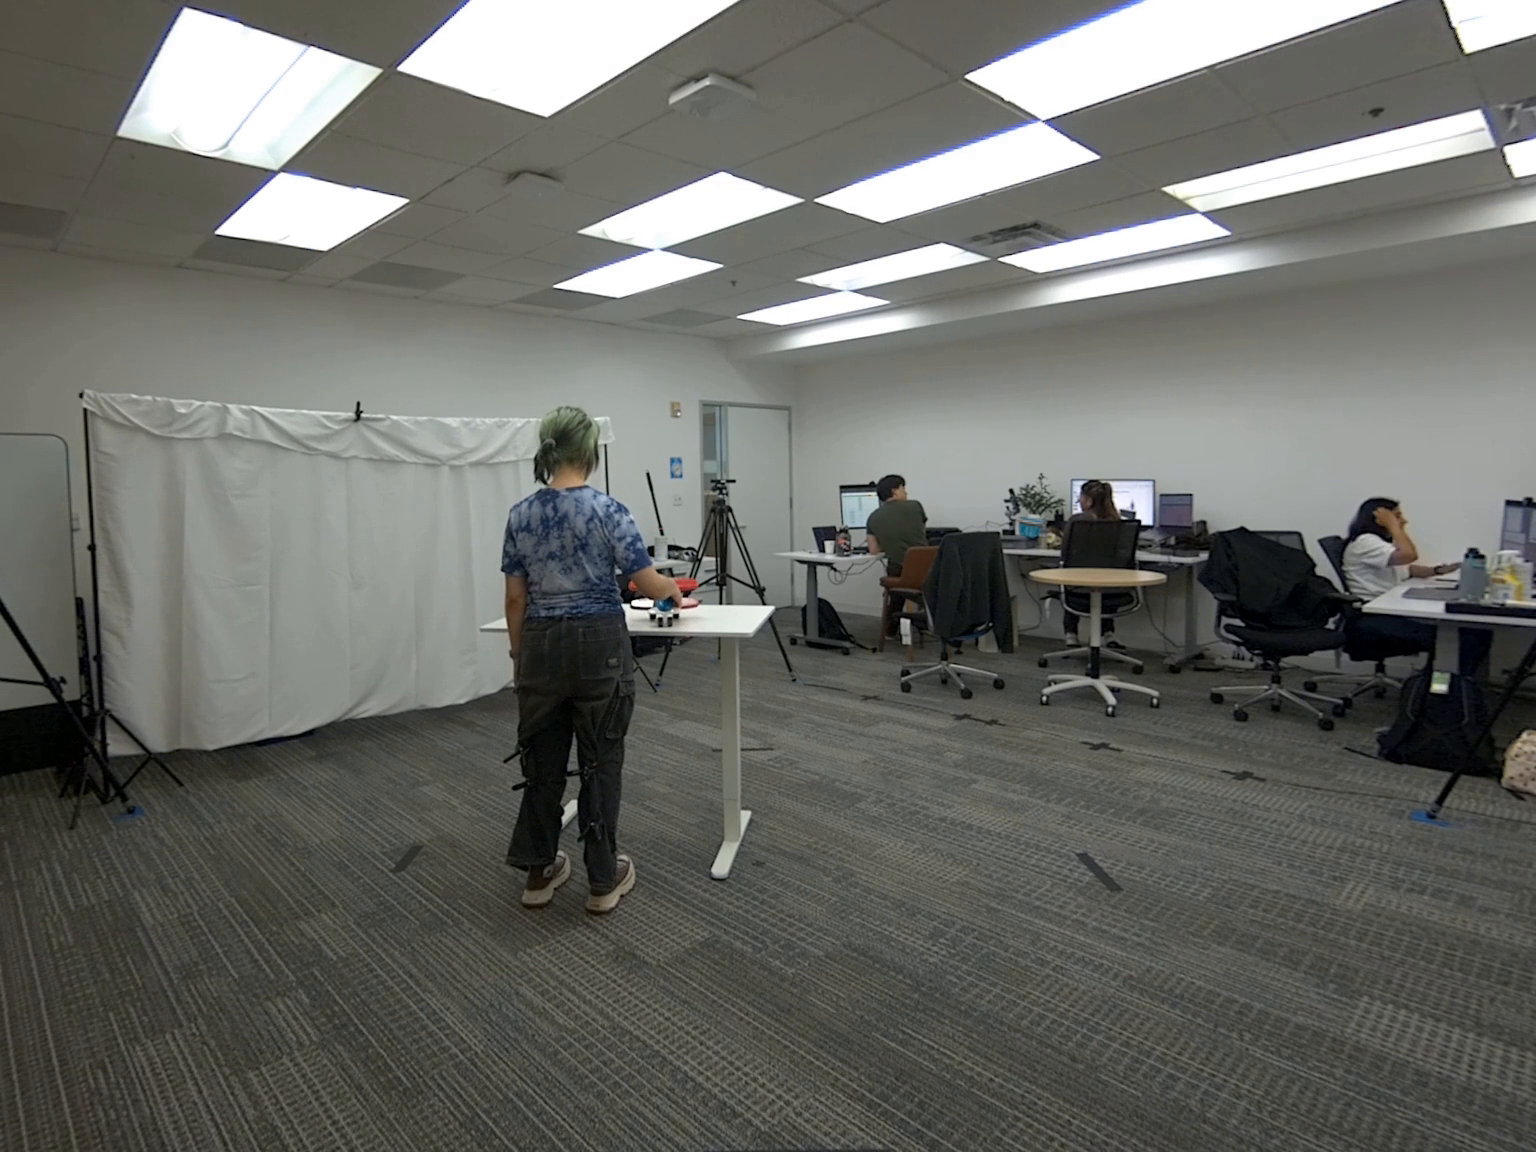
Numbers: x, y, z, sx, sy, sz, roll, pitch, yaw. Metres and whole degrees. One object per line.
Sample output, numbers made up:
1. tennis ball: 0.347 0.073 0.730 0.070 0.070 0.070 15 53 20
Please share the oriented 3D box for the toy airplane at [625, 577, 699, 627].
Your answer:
1. toy airplane: -0.368 0.094 3.138 0.245 0.156 0.266 -4 7 -30
